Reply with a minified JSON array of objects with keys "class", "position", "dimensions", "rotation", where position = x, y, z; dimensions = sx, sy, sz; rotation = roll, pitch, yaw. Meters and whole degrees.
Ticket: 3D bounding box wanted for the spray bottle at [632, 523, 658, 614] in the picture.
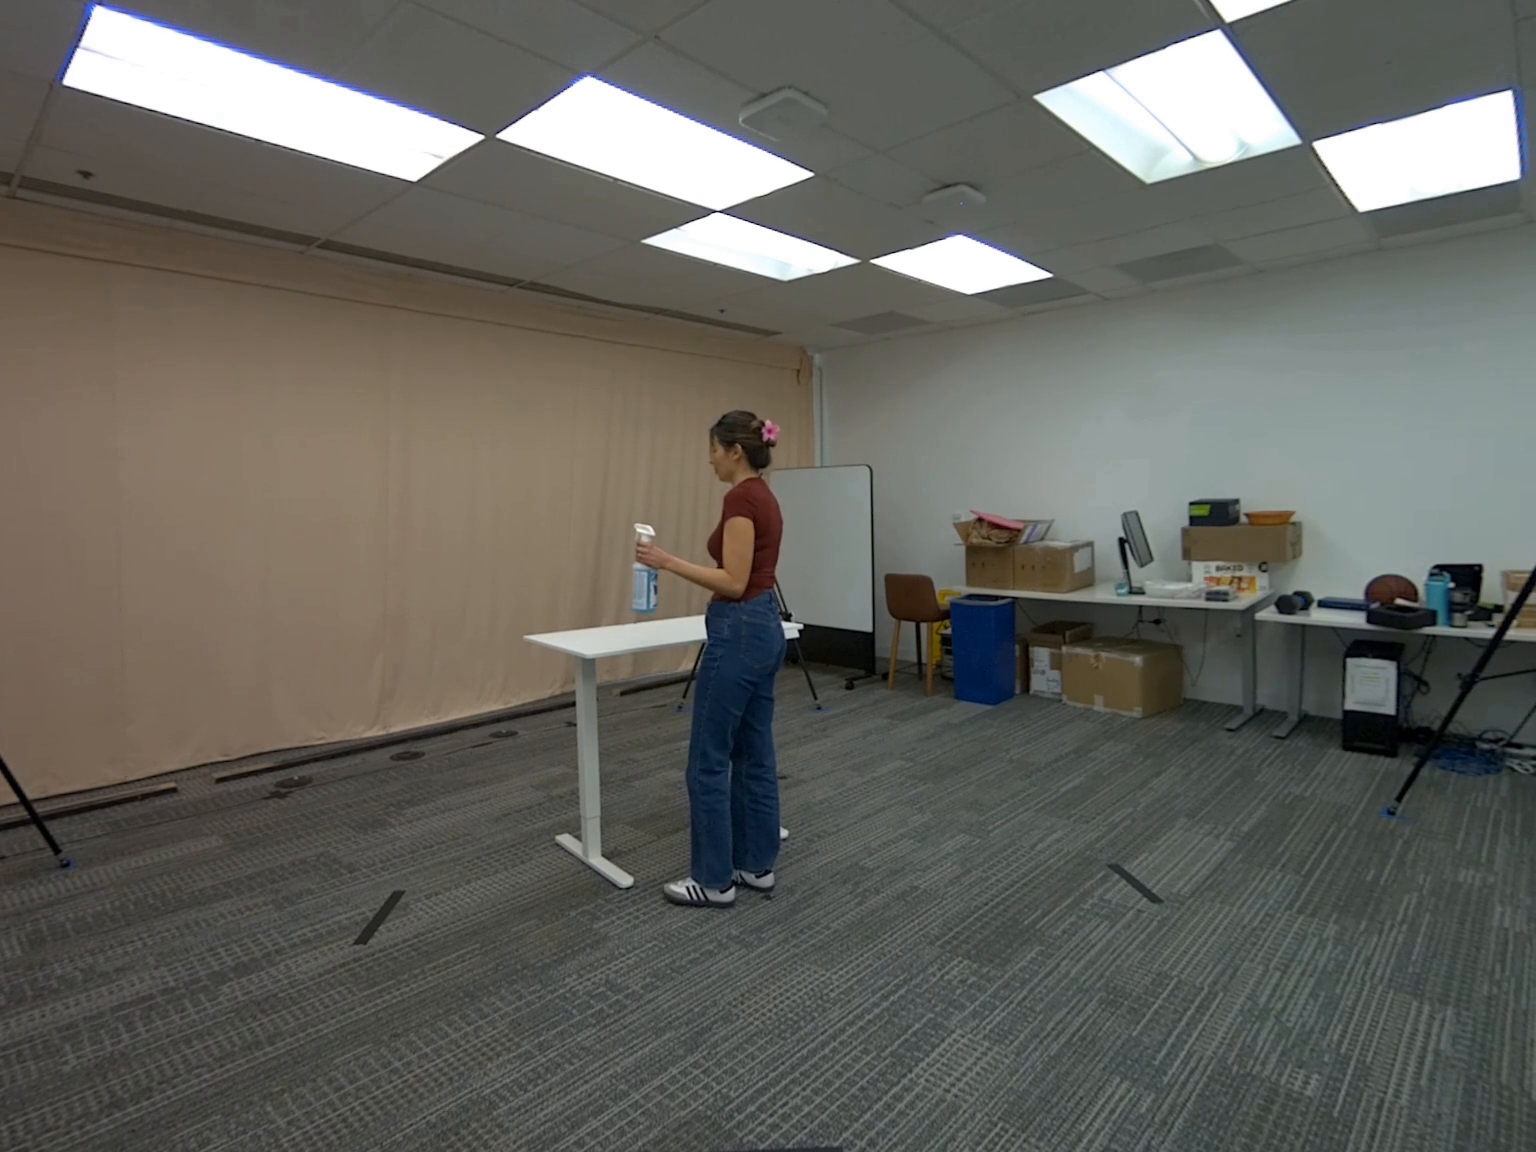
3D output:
[{"class":"spray bottle","position":[-0.416,-0.023,2.867],"dimensions":[0.085,0.296,0.092],"rotation":[-1,9,-24]}]
